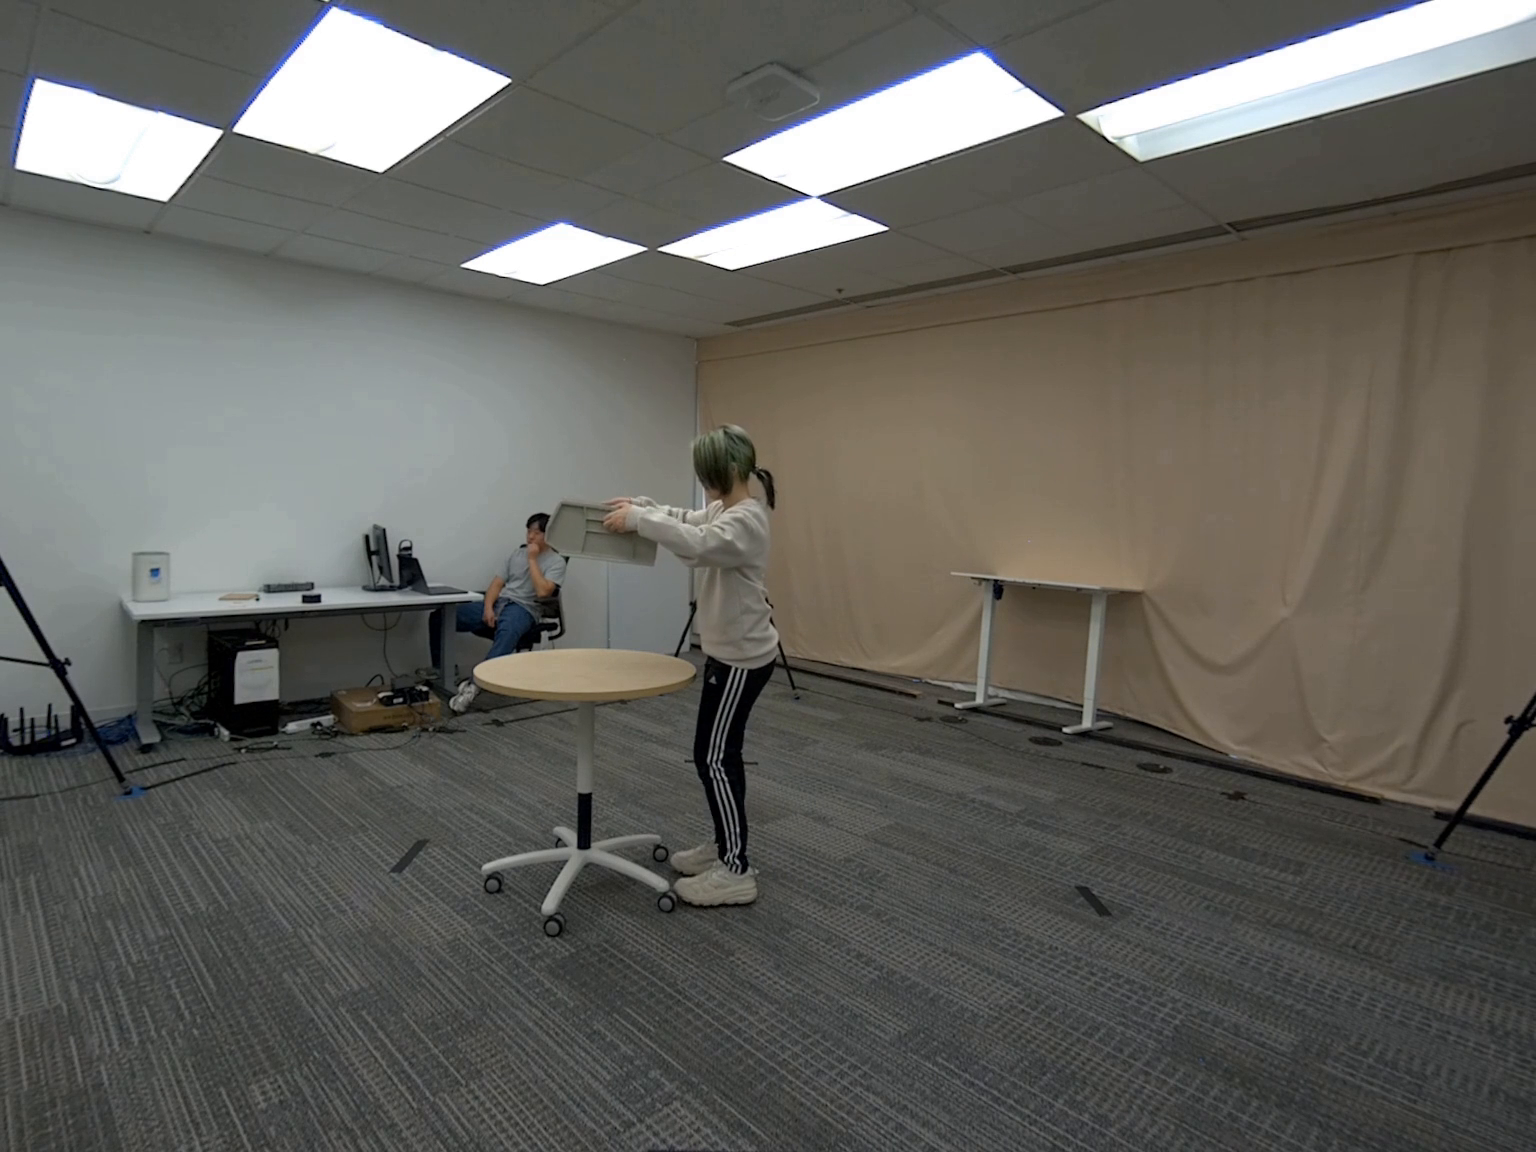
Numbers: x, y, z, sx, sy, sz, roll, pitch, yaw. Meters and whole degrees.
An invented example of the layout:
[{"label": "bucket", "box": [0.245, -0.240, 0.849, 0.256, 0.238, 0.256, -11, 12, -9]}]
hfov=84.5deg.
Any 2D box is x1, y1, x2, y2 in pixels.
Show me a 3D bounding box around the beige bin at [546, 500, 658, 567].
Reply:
[{"label": "beige bin", "box": [-0.591, -0.150, 2.936, 0.373, 0.188, 0.428, 7, 4, -13]}]
